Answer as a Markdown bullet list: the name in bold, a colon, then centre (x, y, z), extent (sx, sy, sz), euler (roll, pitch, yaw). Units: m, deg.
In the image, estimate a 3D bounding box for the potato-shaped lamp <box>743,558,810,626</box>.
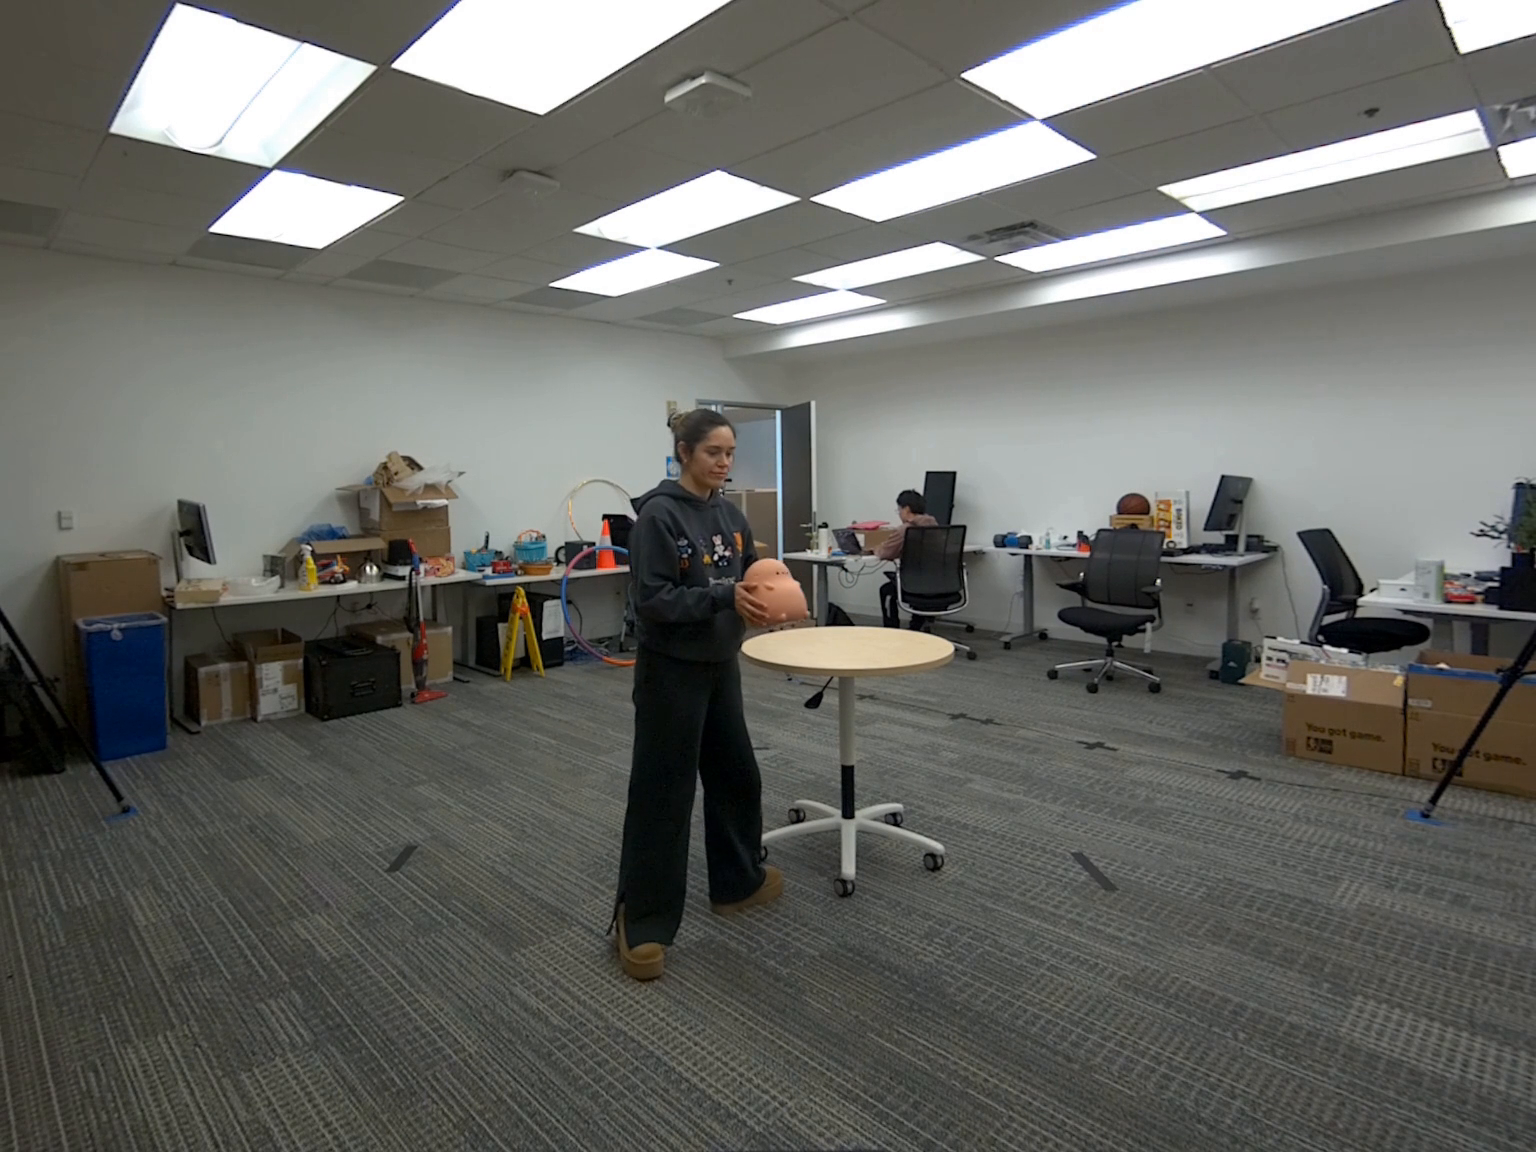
- **potato-shaped lamp**: centre (0.009, 0.045, 2.410), extent (0.160, 0.201, 0.174), euler (0, -17, -44)
